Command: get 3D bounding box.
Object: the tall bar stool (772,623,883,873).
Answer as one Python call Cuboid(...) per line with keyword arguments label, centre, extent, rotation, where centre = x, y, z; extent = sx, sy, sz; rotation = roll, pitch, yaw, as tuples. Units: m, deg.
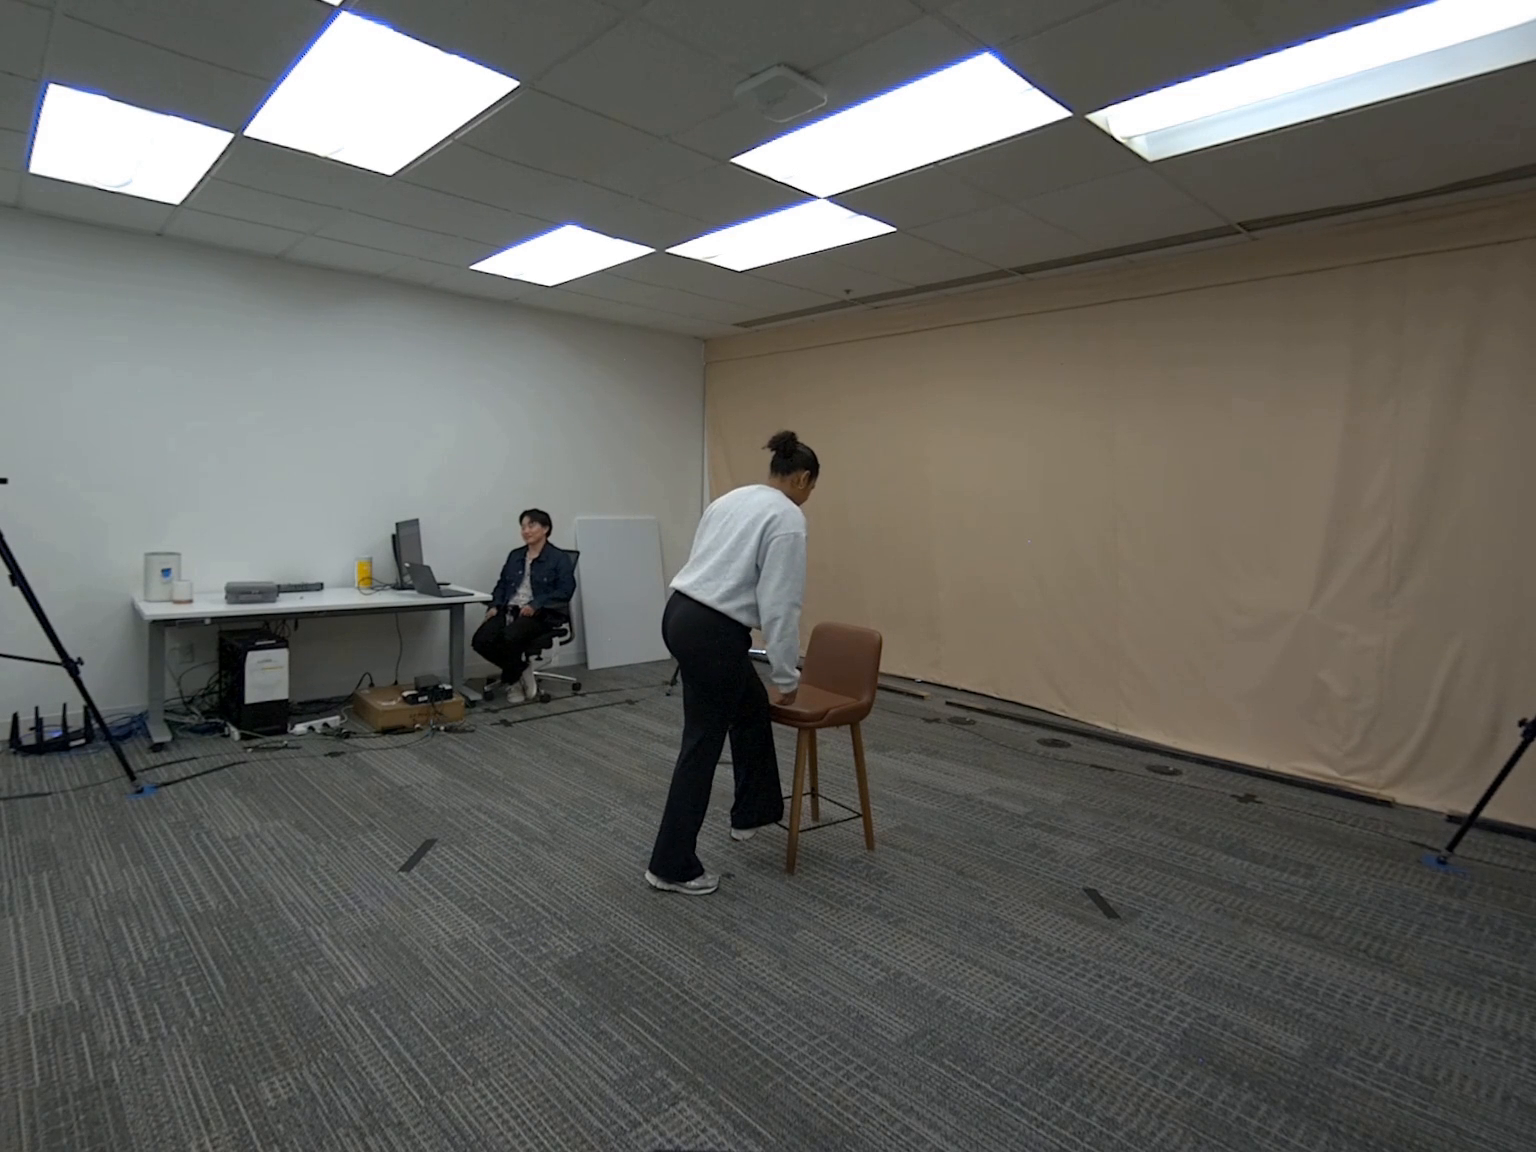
Cuboid(label="tall bar stool", centre=(0.148, 0.650, 3.392), extent=(0.457, 0.889, 0.467), rotation=(1, 2, -35))
